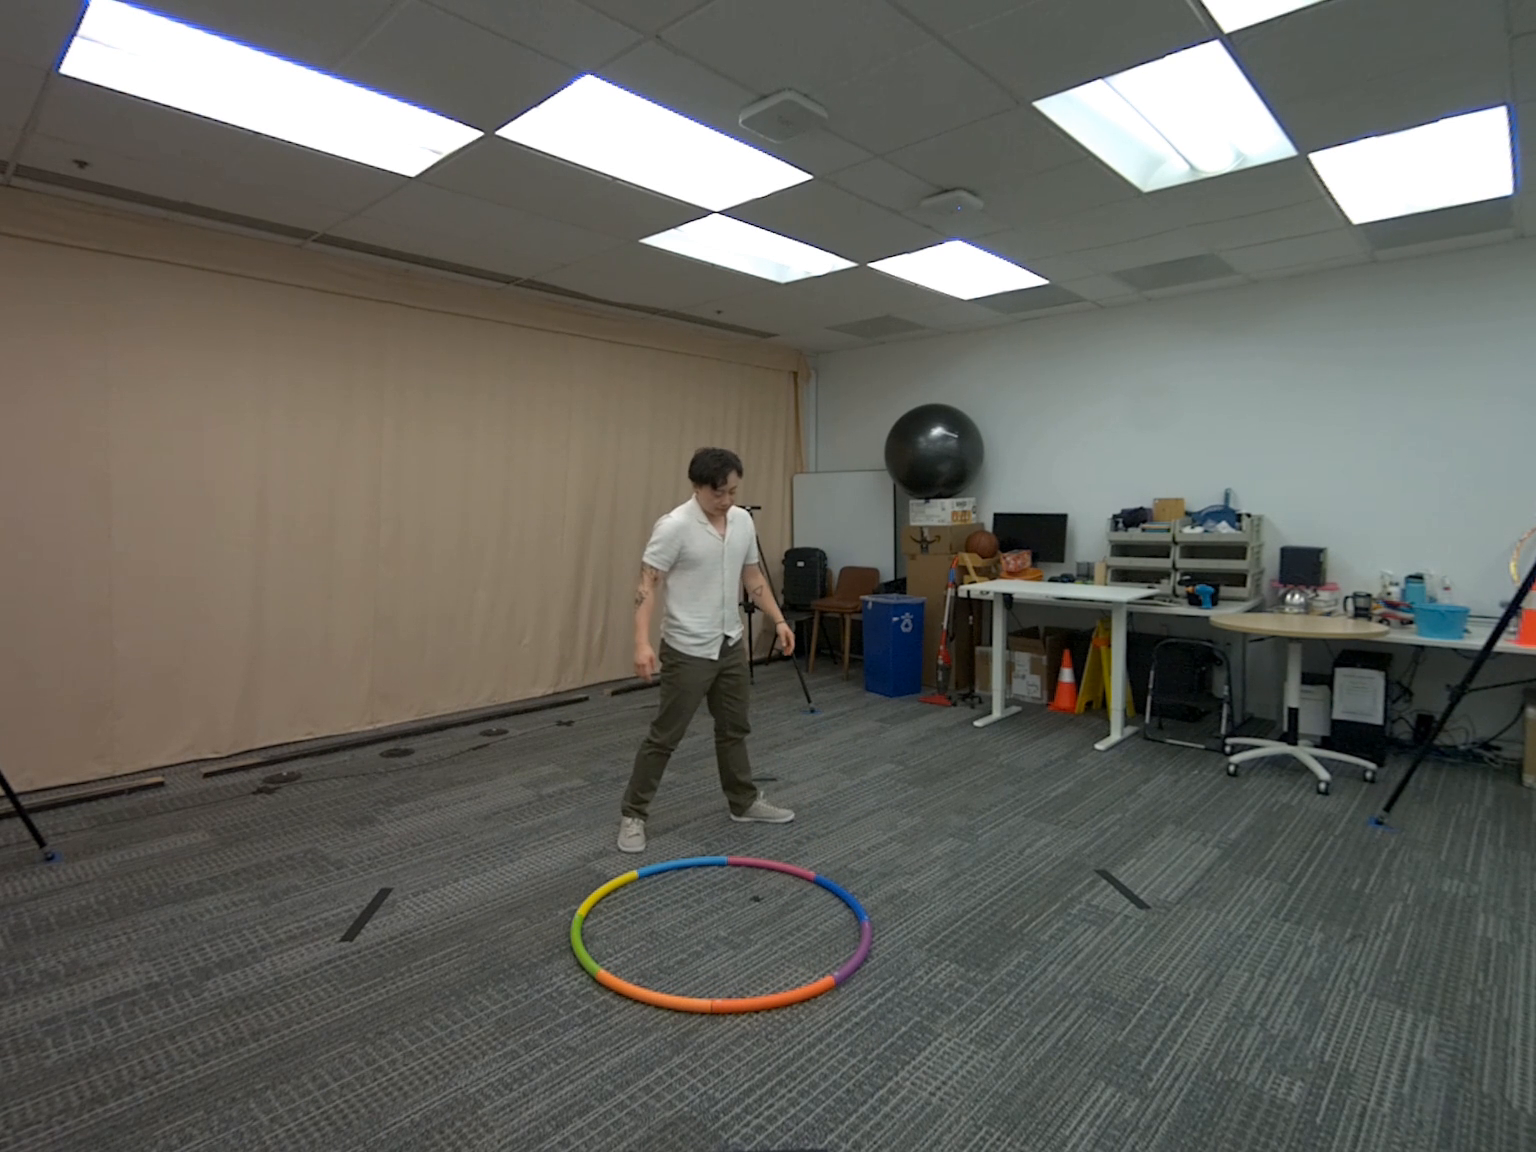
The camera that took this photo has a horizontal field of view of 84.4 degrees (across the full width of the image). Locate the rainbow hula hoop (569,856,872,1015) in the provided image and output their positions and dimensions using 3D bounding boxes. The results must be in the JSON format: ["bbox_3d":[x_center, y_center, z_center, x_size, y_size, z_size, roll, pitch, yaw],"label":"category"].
[{"bbox_3d":[-0.149,1.133,2.789,0.978,0.035,0.982,0,5,-2],"label":"rainbow hula hoop"}]
